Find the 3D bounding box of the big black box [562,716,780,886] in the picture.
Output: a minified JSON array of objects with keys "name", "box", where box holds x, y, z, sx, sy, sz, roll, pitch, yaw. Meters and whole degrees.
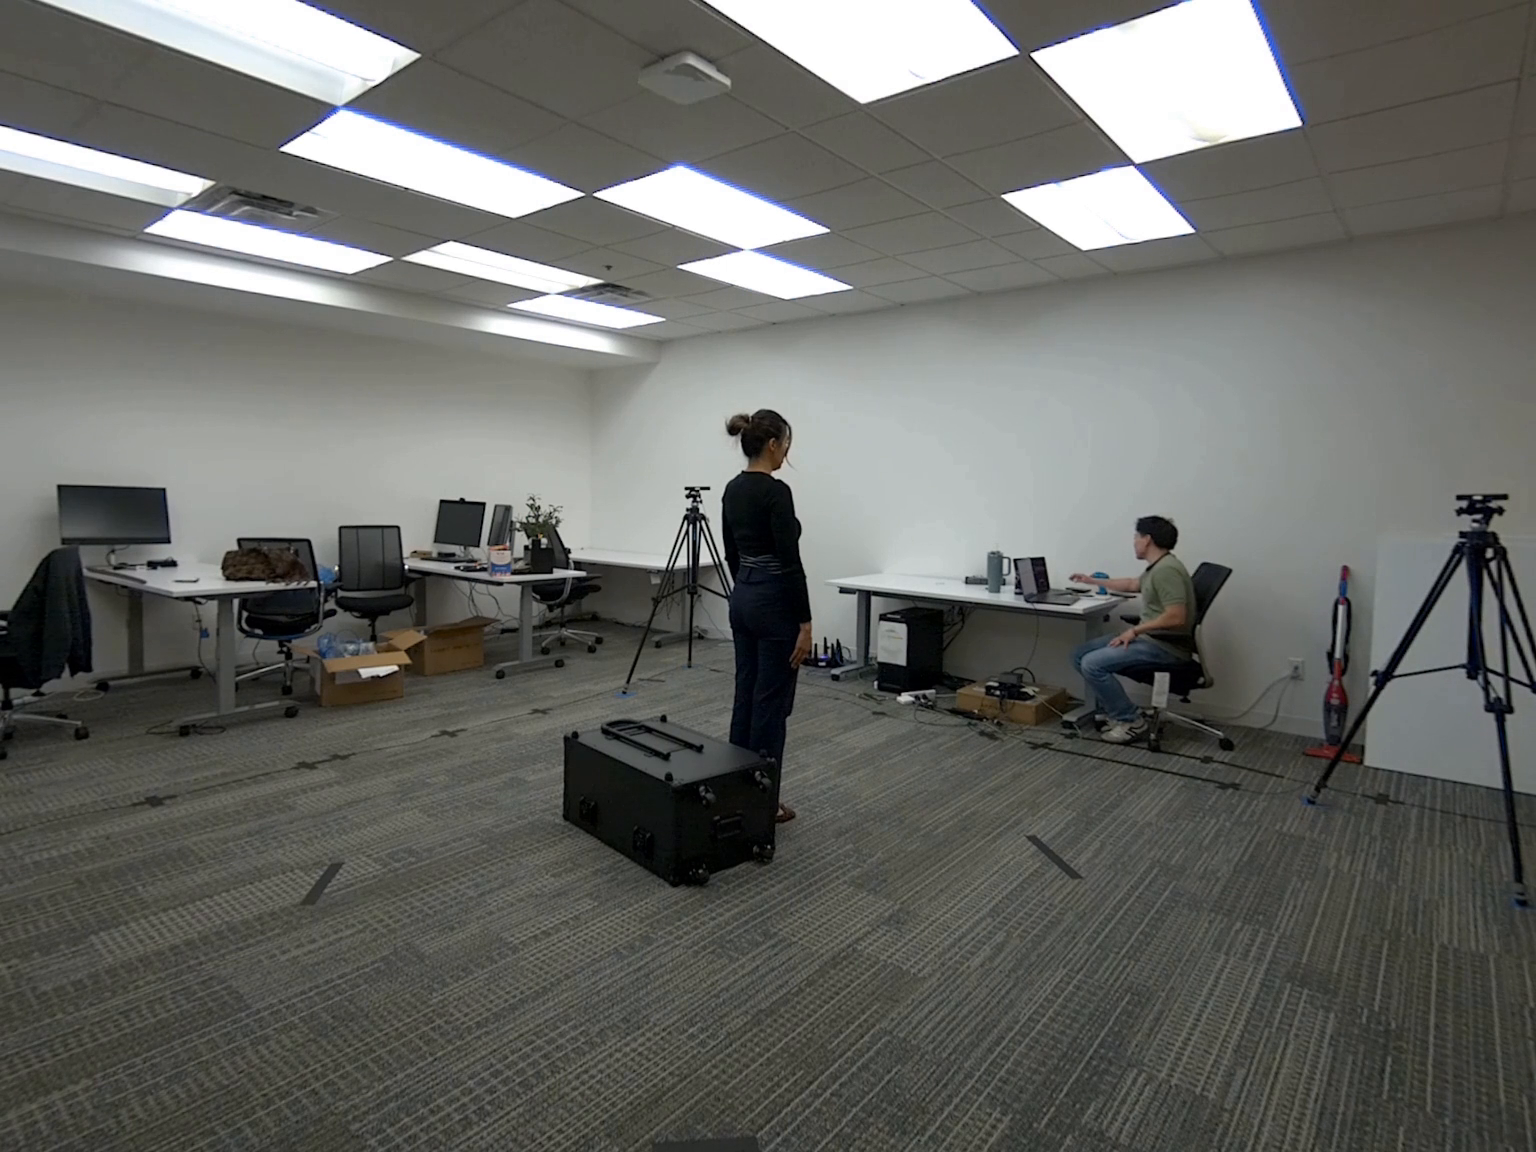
[{"name":"big black box","box":[-0.439,0.856,3.412,0.506,0.395,0.891,-3,6,-41]}]
